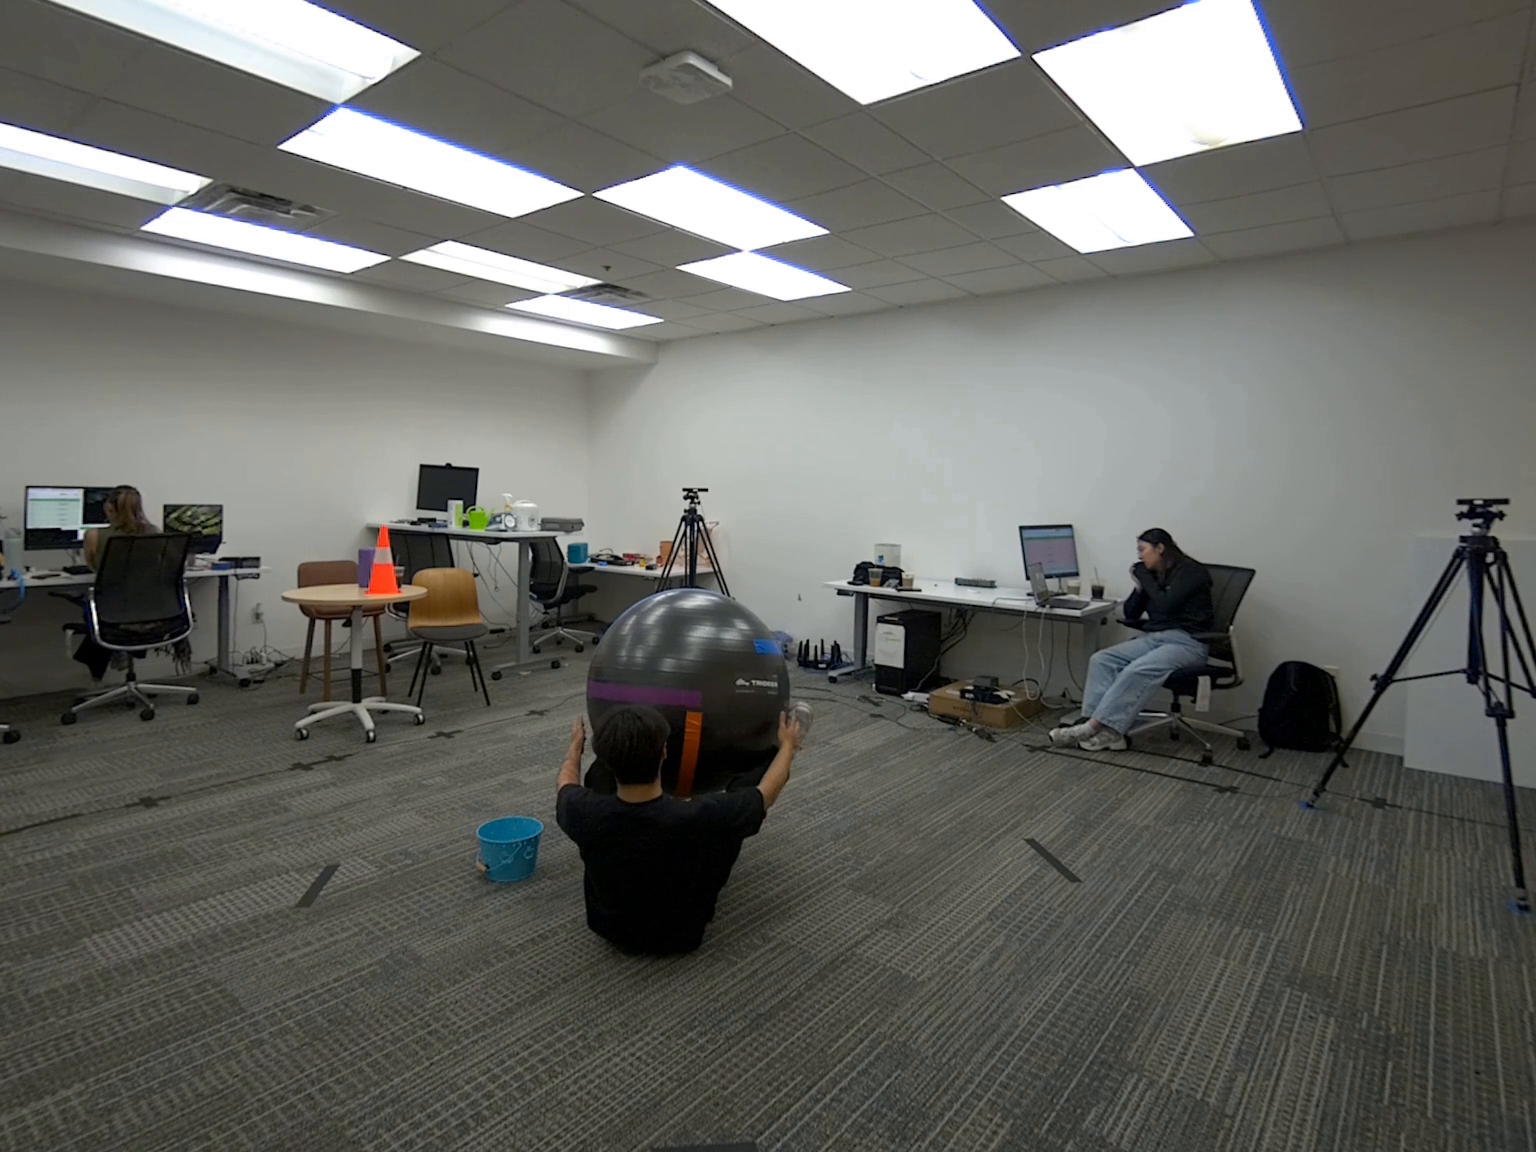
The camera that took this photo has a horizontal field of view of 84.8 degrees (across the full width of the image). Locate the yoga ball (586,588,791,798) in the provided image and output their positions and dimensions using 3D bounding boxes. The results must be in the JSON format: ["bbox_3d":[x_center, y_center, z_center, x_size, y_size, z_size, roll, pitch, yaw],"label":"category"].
[{"bbox_3d":[-0.304,0.436,3.165,0.757,0.755,0.762,1,4,-2],"label":"yoga ball"}]
